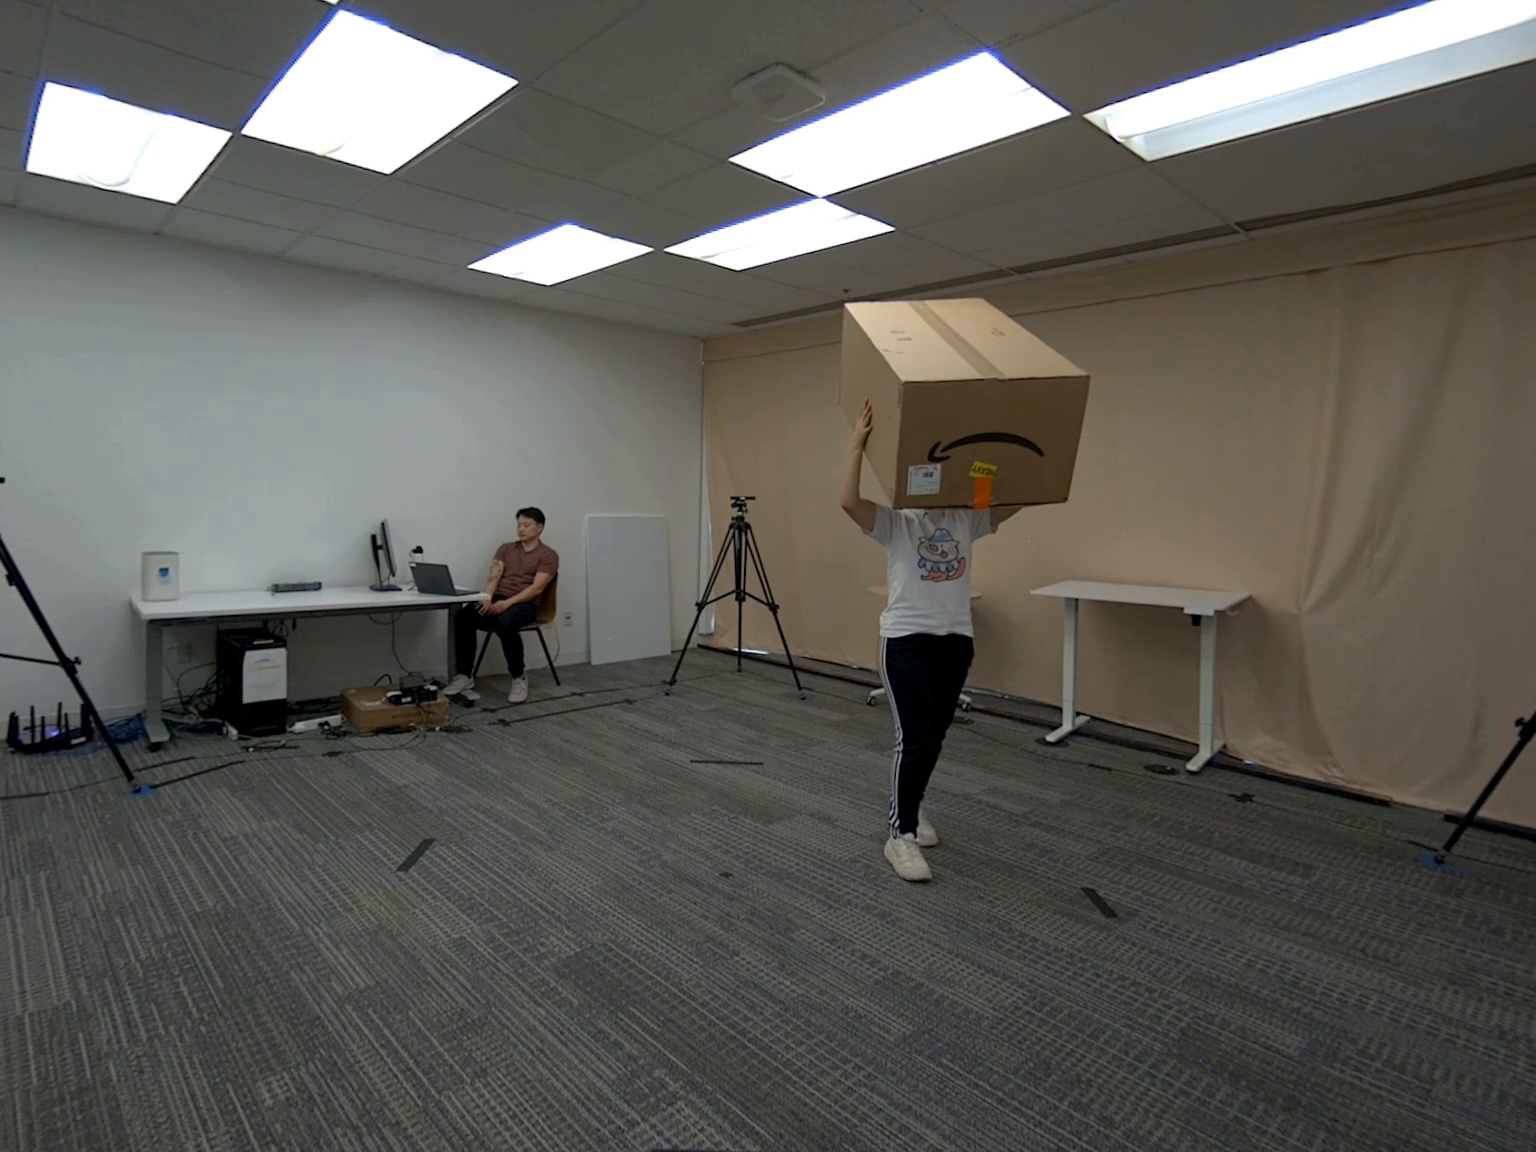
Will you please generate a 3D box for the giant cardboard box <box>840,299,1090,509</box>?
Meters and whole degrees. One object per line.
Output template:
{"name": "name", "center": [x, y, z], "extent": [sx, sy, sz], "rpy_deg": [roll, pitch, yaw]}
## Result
{"name": "giant cardboard box", "center": [0.631, -0.661, 3.046], "extent": [0.582, 0.438, 1.050], "rpy_deg": [-2, 31, -5]}
